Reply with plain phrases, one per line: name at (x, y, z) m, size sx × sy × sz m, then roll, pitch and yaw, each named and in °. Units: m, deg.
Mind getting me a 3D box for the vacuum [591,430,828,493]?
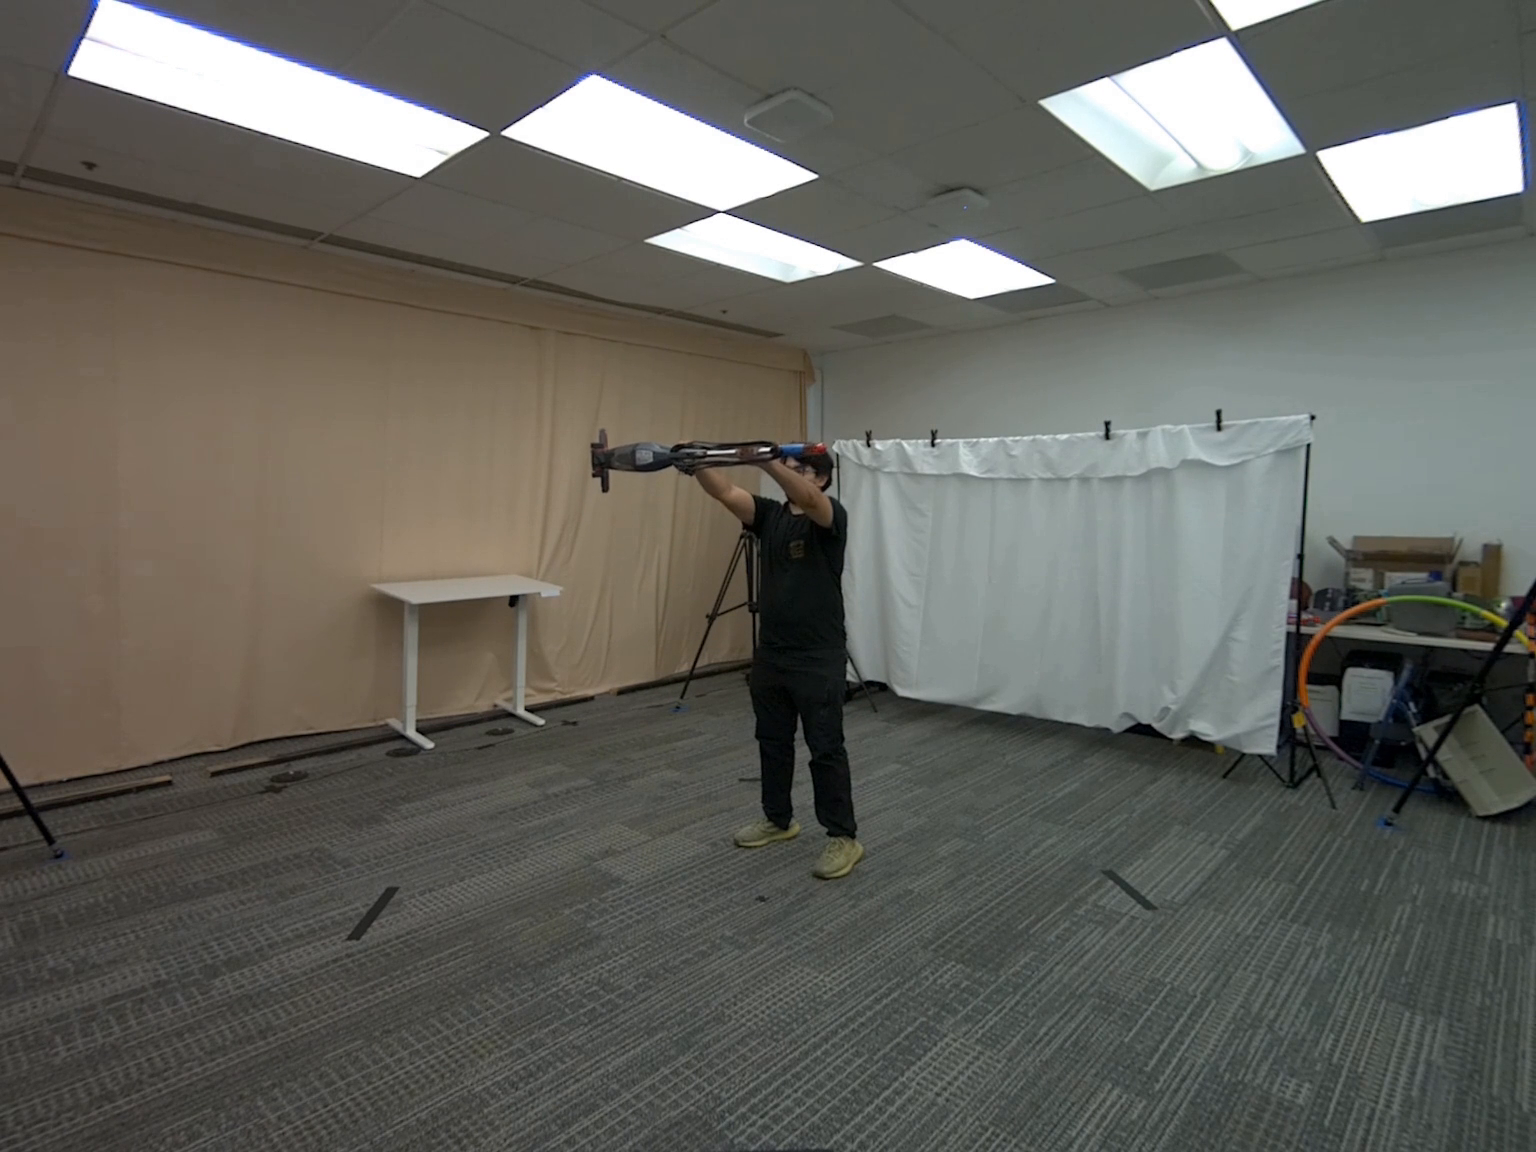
vacuum at (-0.242, -0.421, 2.944) m, size 1.084 × 0.252 × 0.140 m, roll 4°, pitch 7°, yaw 39°
